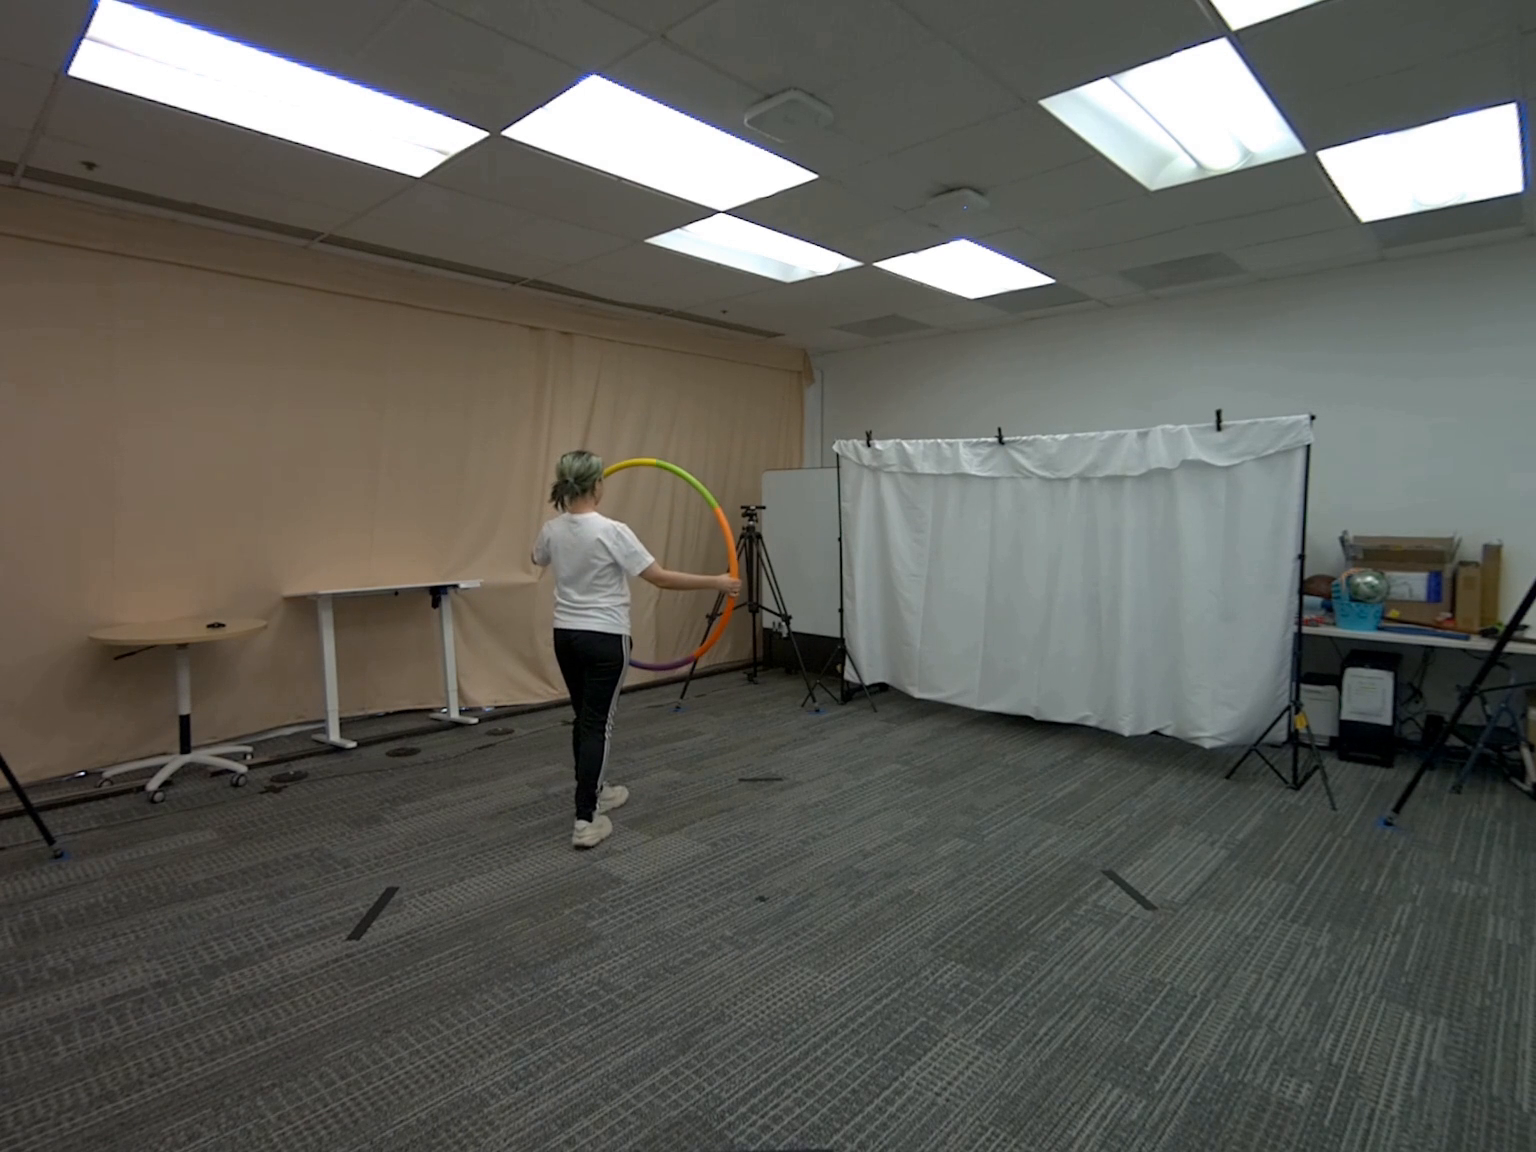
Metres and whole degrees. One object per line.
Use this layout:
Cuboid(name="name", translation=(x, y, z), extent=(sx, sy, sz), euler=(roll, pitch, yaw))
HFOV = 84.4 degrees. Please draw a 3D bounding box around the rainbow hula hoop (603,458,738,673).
Cuboid(name="rainbow hula hoop", translation=(-0.566, -0.046, 3.891), extent=(1.008, 0.975, 0.034), euler=(2, 6, 32))
